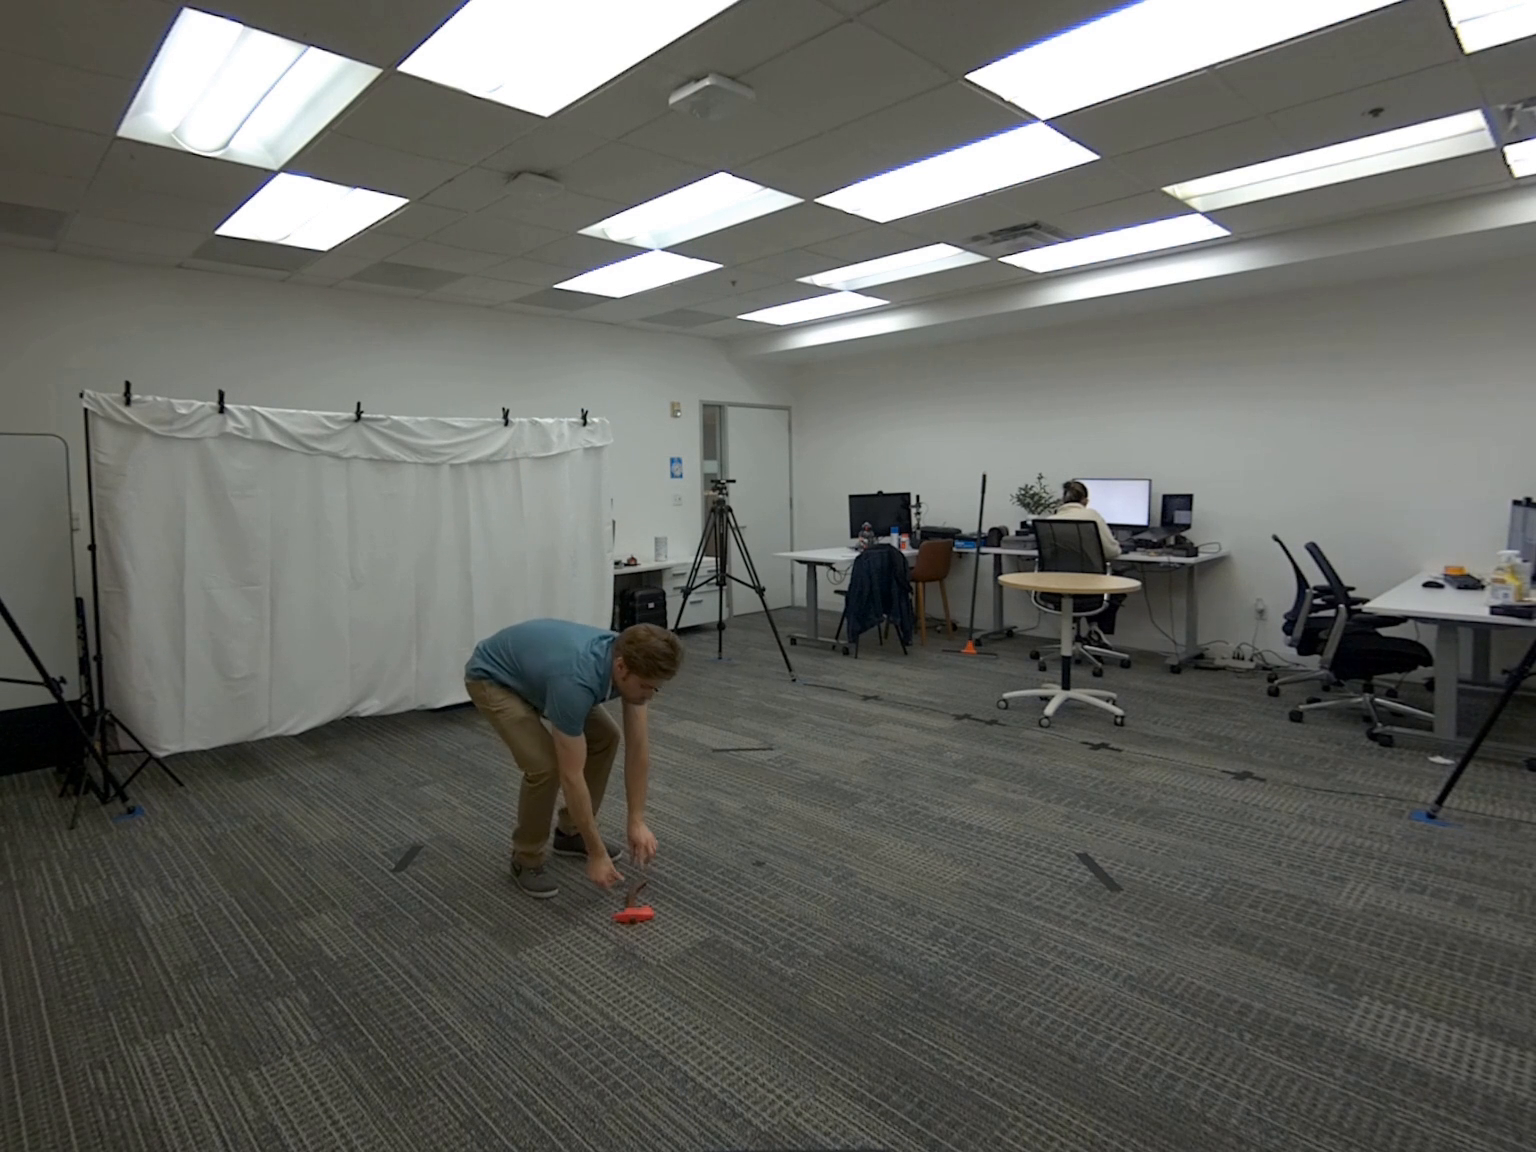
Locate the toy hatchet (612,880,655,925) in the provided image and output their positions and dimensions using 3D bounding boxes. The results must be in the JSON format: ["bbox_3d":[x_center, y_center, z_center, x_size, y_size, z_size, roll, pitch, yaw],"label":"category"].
[{"bbox_3d":[-0.423,1.078,2.829,0.132,0.029,0.268,-1,3,10],"label":"toy hatchet"}]
